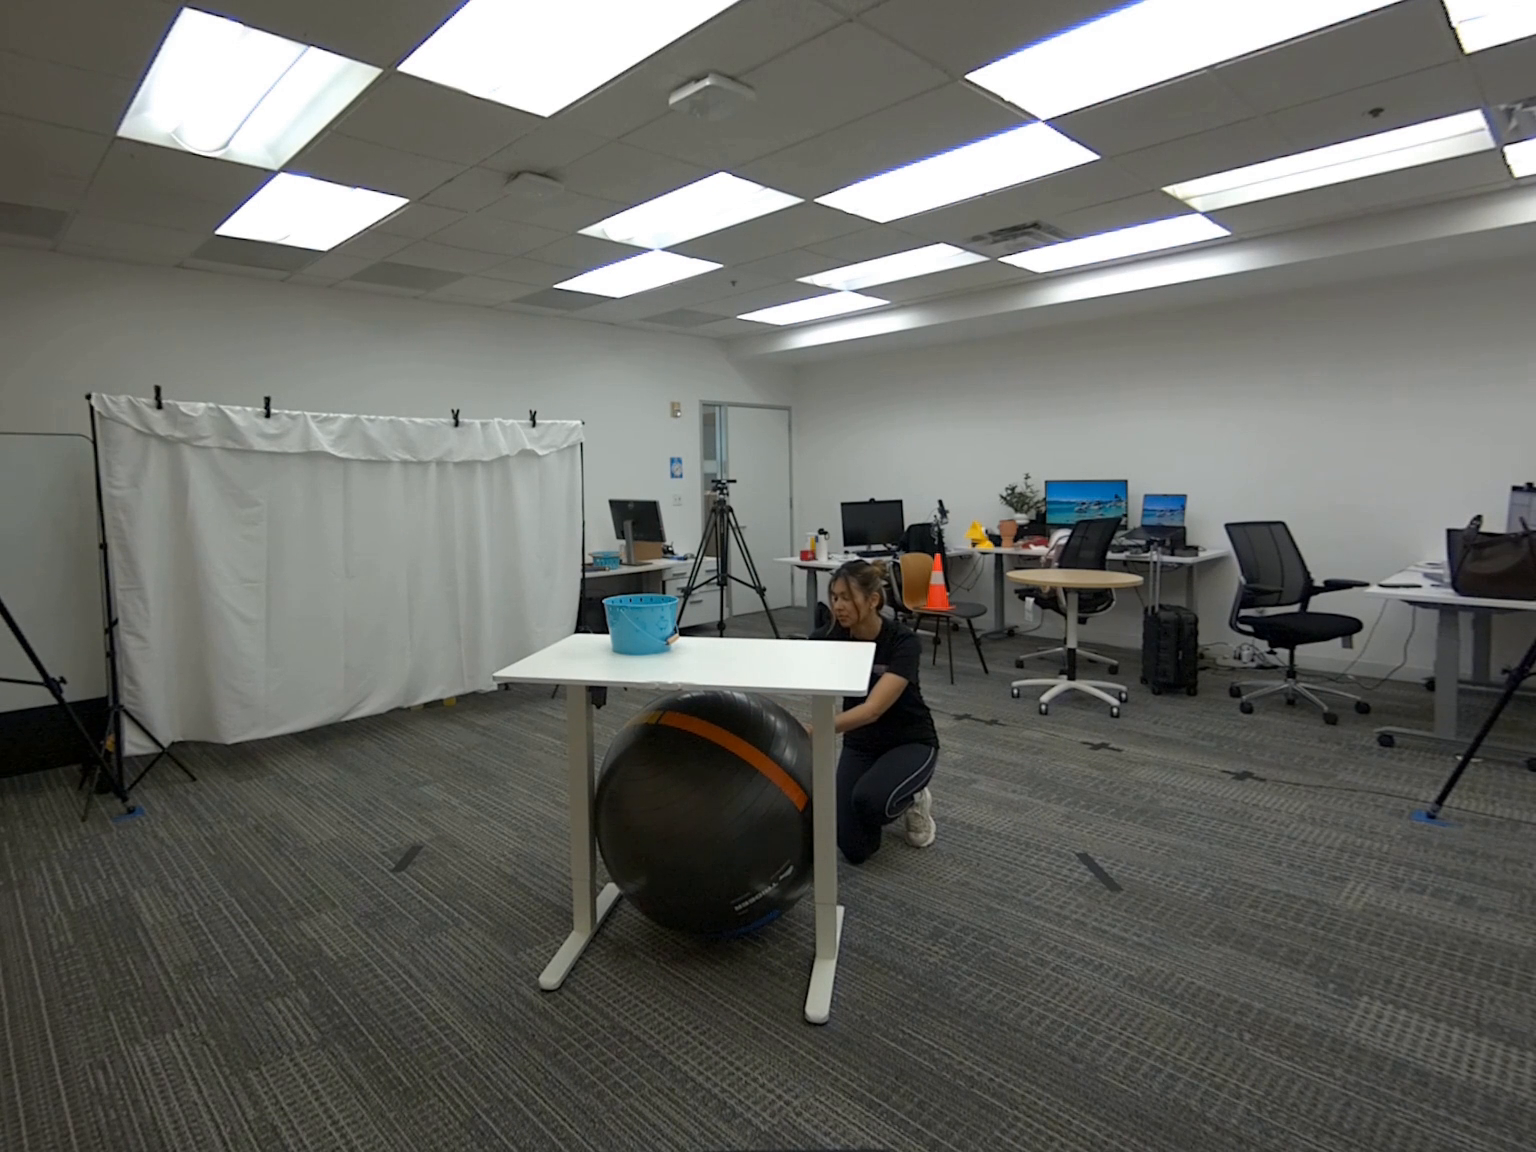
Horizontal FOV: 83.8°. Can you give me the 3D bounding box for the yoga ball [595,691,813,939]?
[{"bbox_3d":[-0.171,0.744,2.695,0.757,0.755,0.762,-1,5,-2],"label":"yoga ball"}]
